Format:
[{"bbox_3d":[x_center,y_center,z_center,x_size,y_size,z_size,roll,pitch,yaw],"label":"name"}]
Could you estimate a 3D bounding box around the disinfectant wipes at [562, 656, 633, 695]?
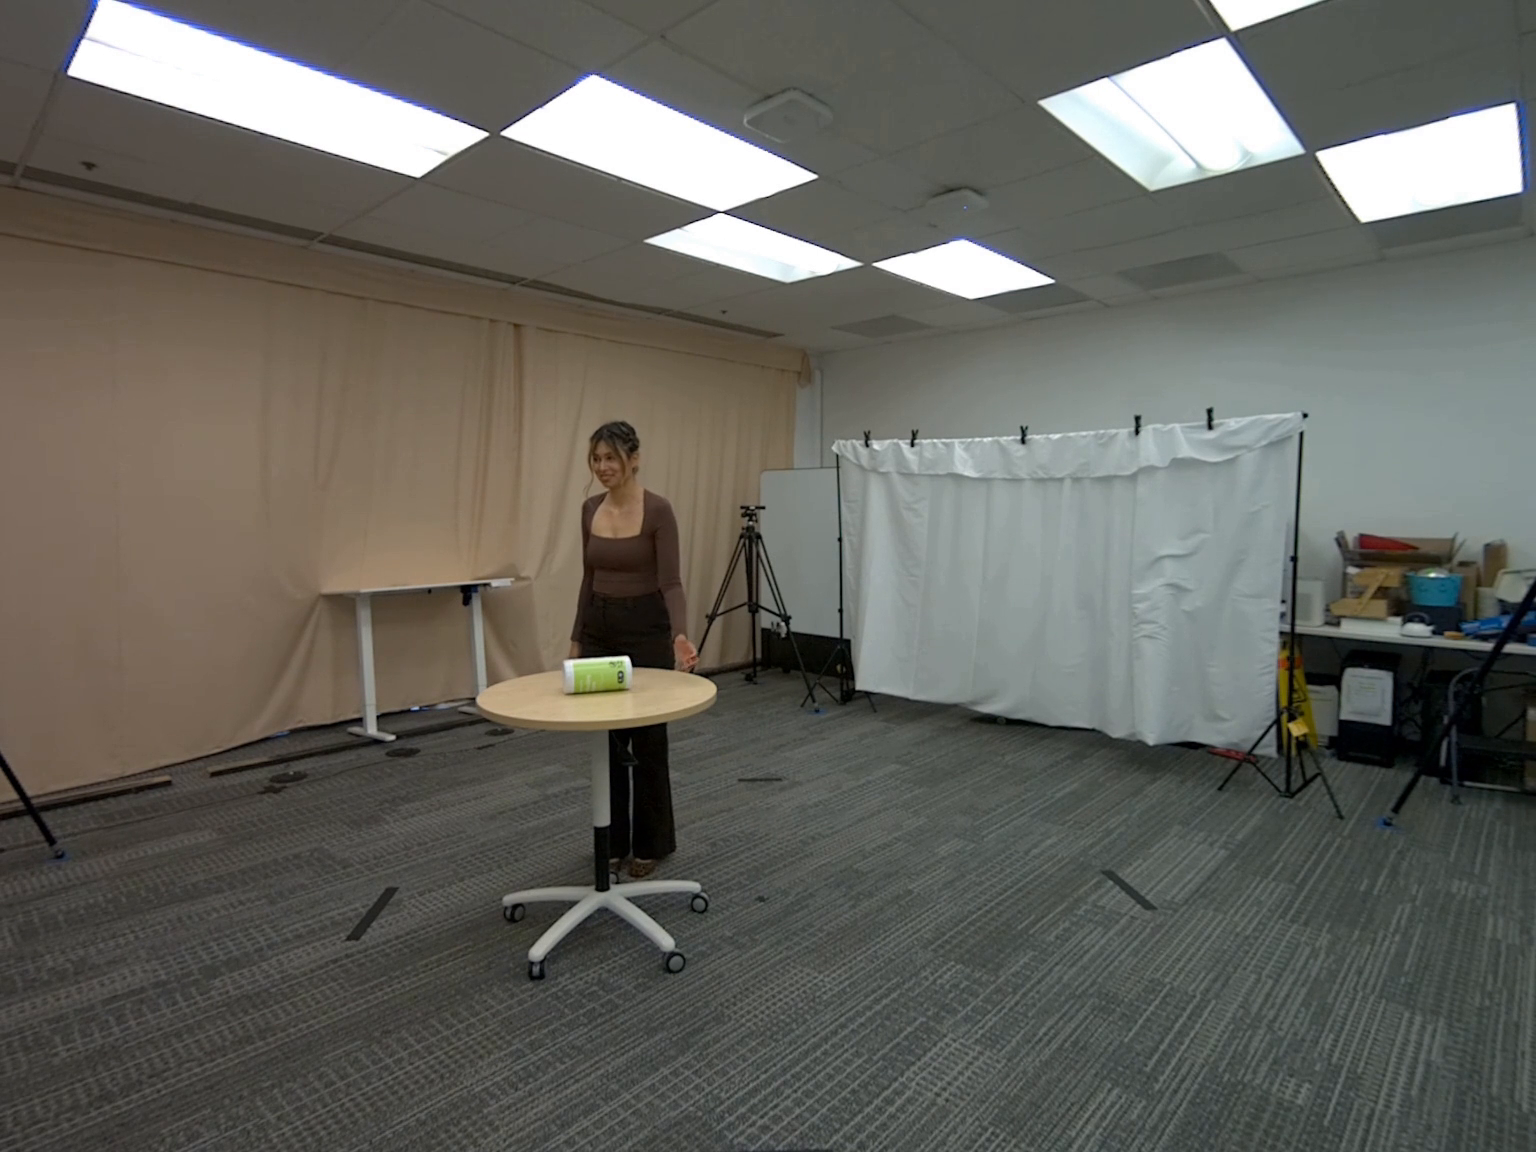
[{"bbox_3d":[-0.558,0.317,2.721,0.213,0.117,0.120,-2,4,-18],"label":"disinfectant wipes"}]
